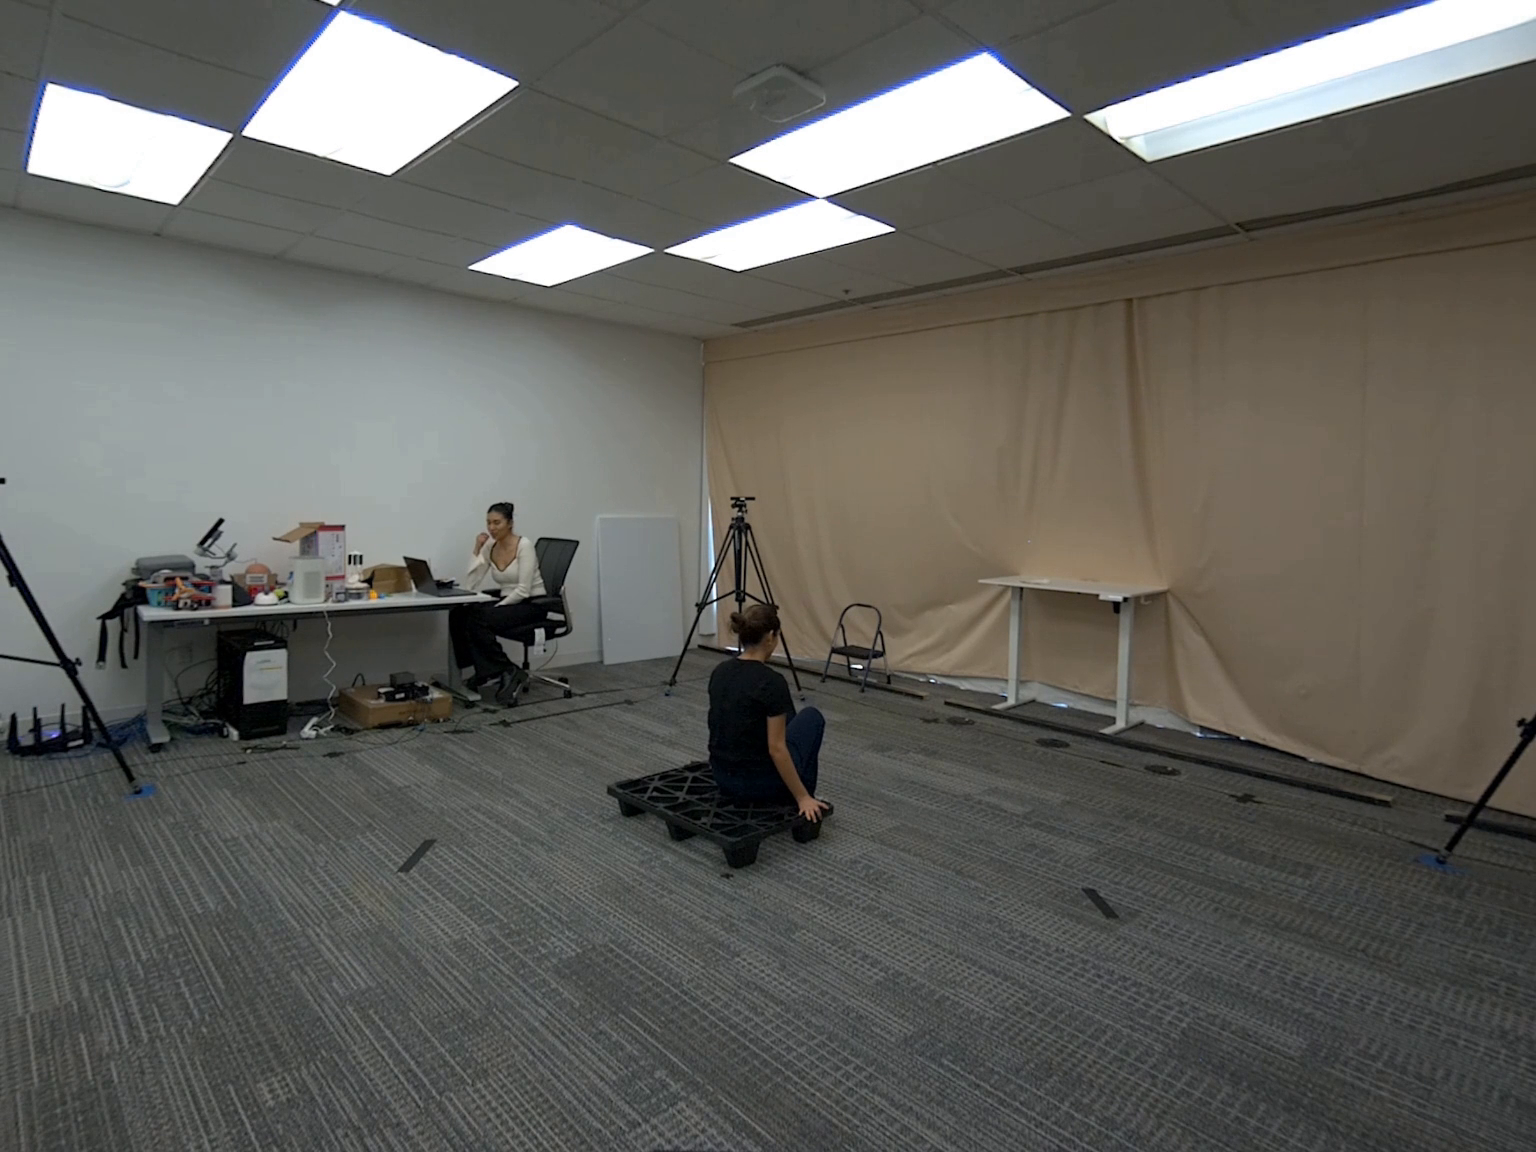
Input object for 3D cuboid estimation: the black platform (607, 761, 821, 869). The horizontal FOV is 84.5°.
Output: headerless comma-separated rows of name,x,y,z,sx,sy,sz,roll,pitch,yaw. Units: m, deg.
black platform,-0.224,0.997,3.556,0.591,0.143,0.826,-5,8,-45
